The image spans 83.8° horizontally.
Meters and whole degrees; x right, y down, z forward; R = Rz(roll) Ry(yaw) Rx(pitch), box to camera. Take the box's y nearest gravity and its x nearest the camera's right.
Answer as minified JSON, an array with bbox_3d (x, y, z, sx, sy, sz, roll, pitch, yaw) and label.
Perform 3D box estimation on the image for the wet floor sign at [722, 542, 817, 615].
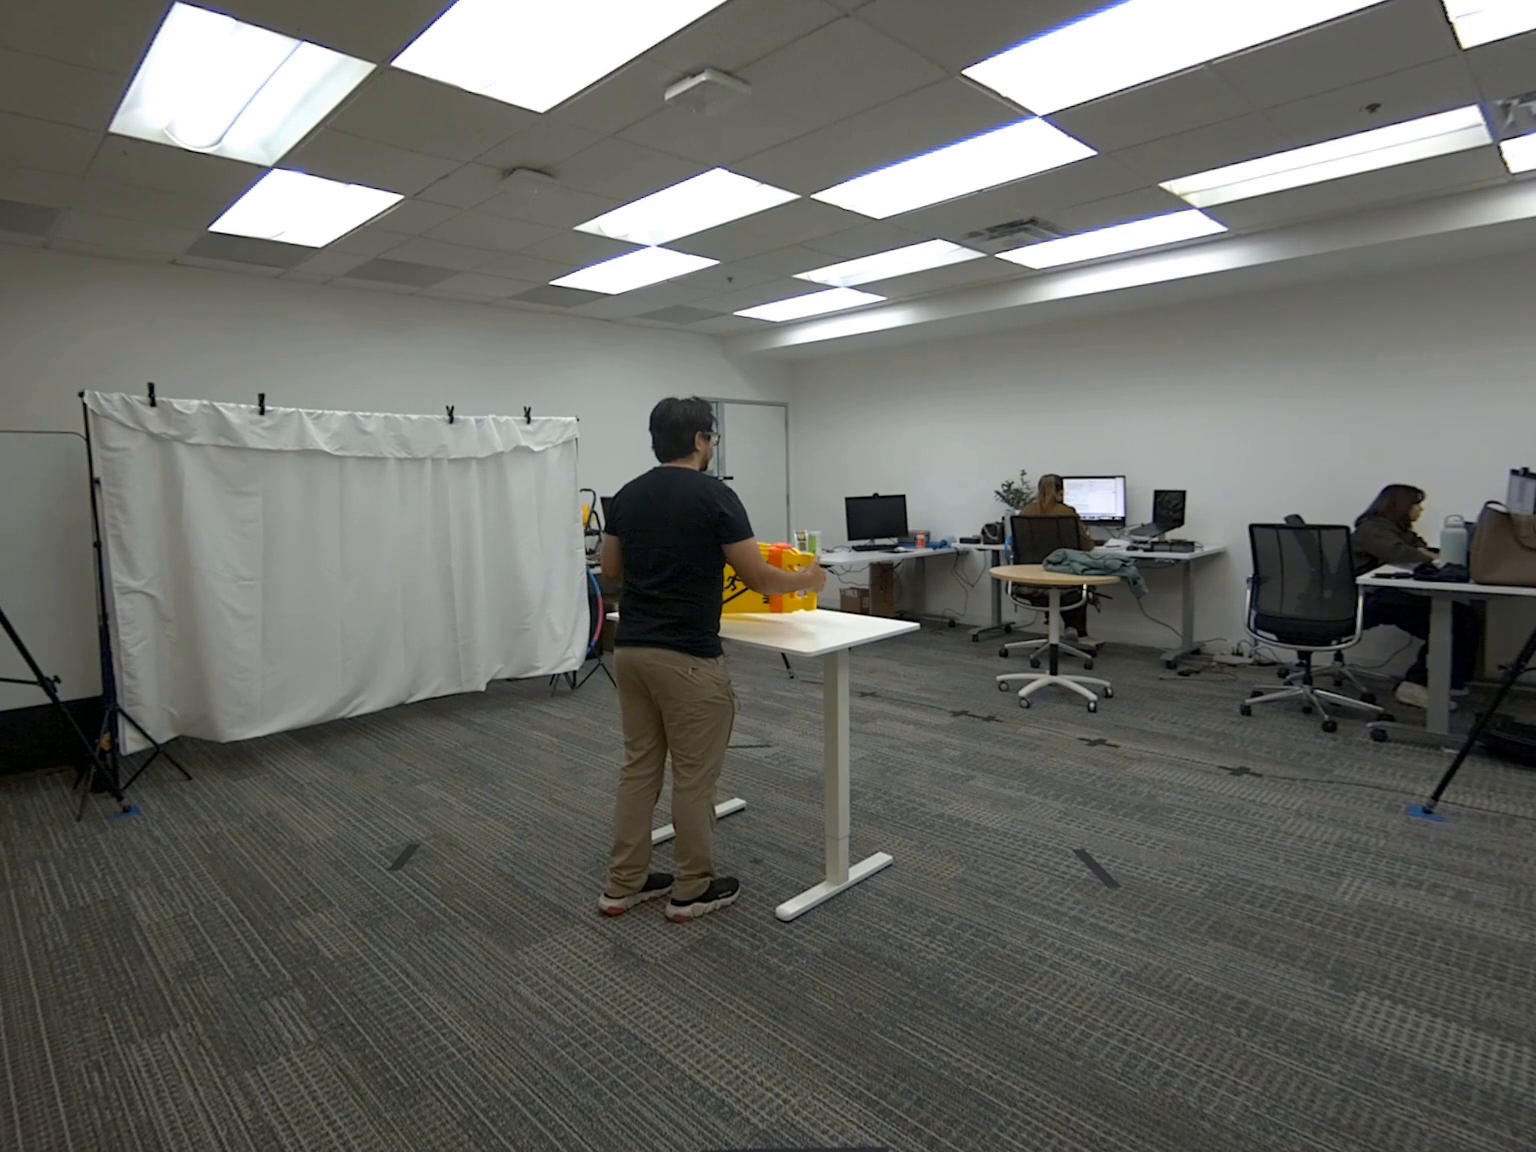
[{"bbox_3d":[-0.098,0.002,3.108,0.665,0.280,0.283,4,10,37],"label":"wet floor sign"}]
